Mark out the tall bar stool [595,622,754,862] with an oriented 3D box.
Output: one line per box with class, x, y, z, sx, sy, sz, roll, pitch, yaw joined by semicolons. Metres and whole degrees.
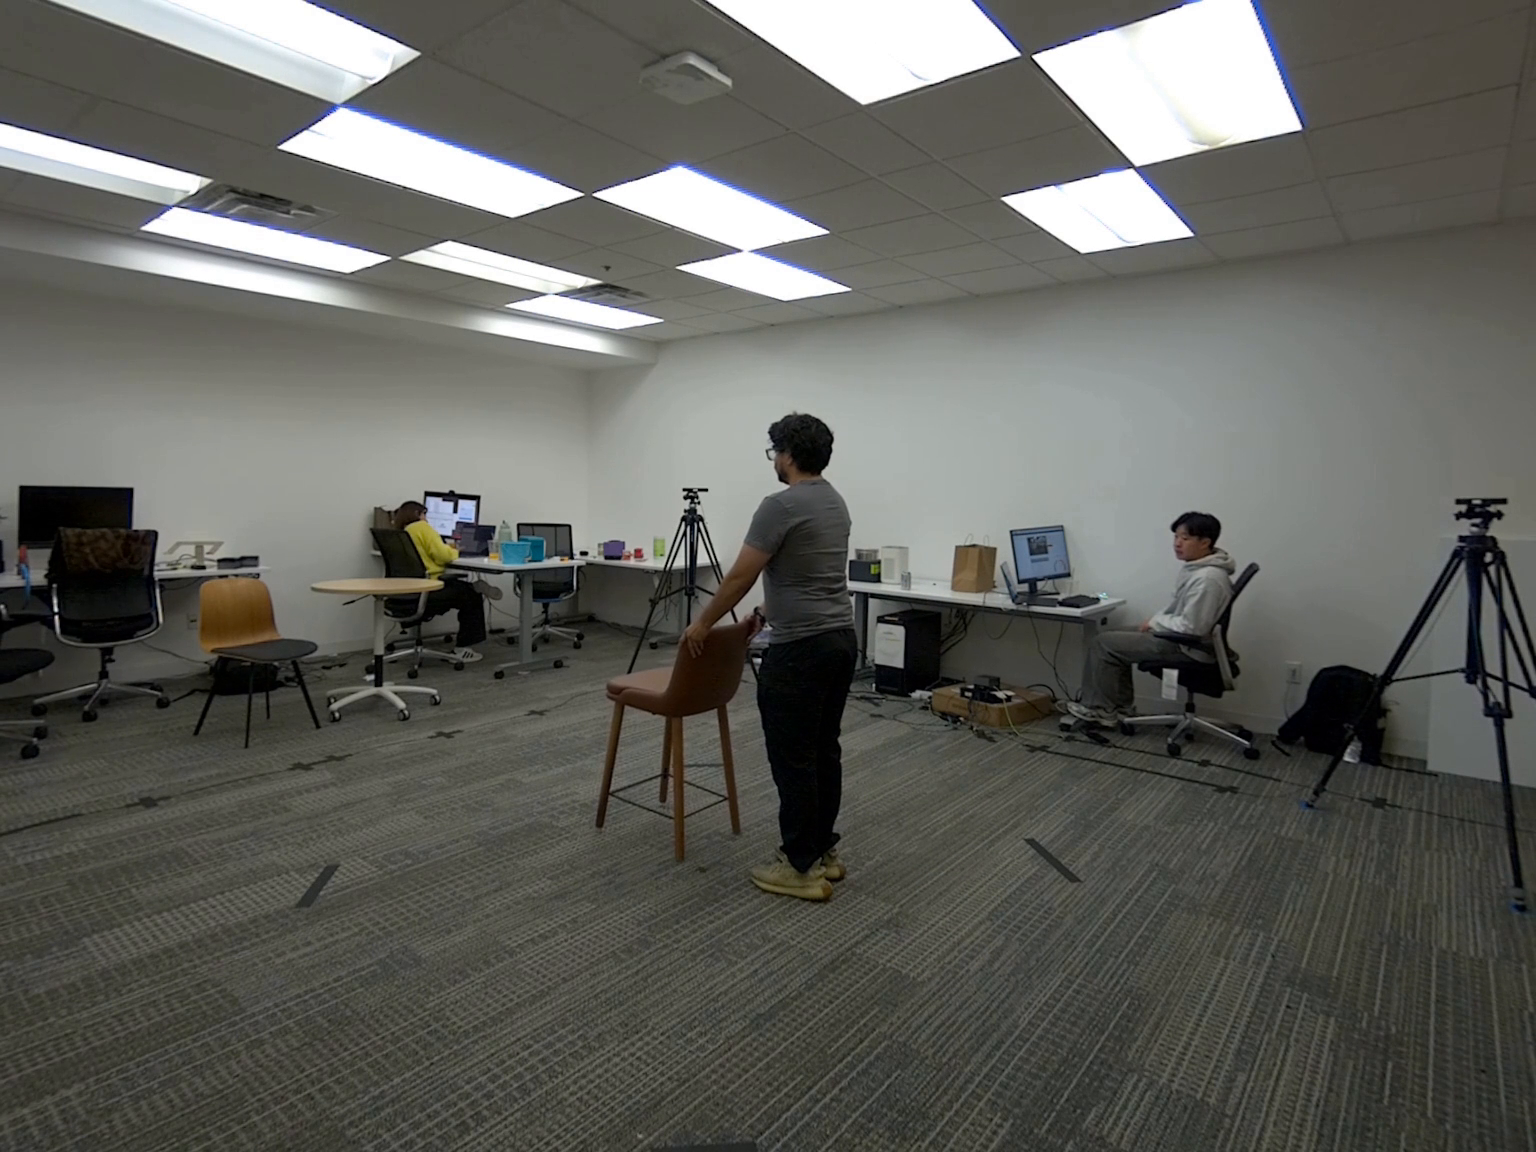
tall bar stool;-0.380;0.593;3.416;0.484;0.885;0.443;9;7;37
